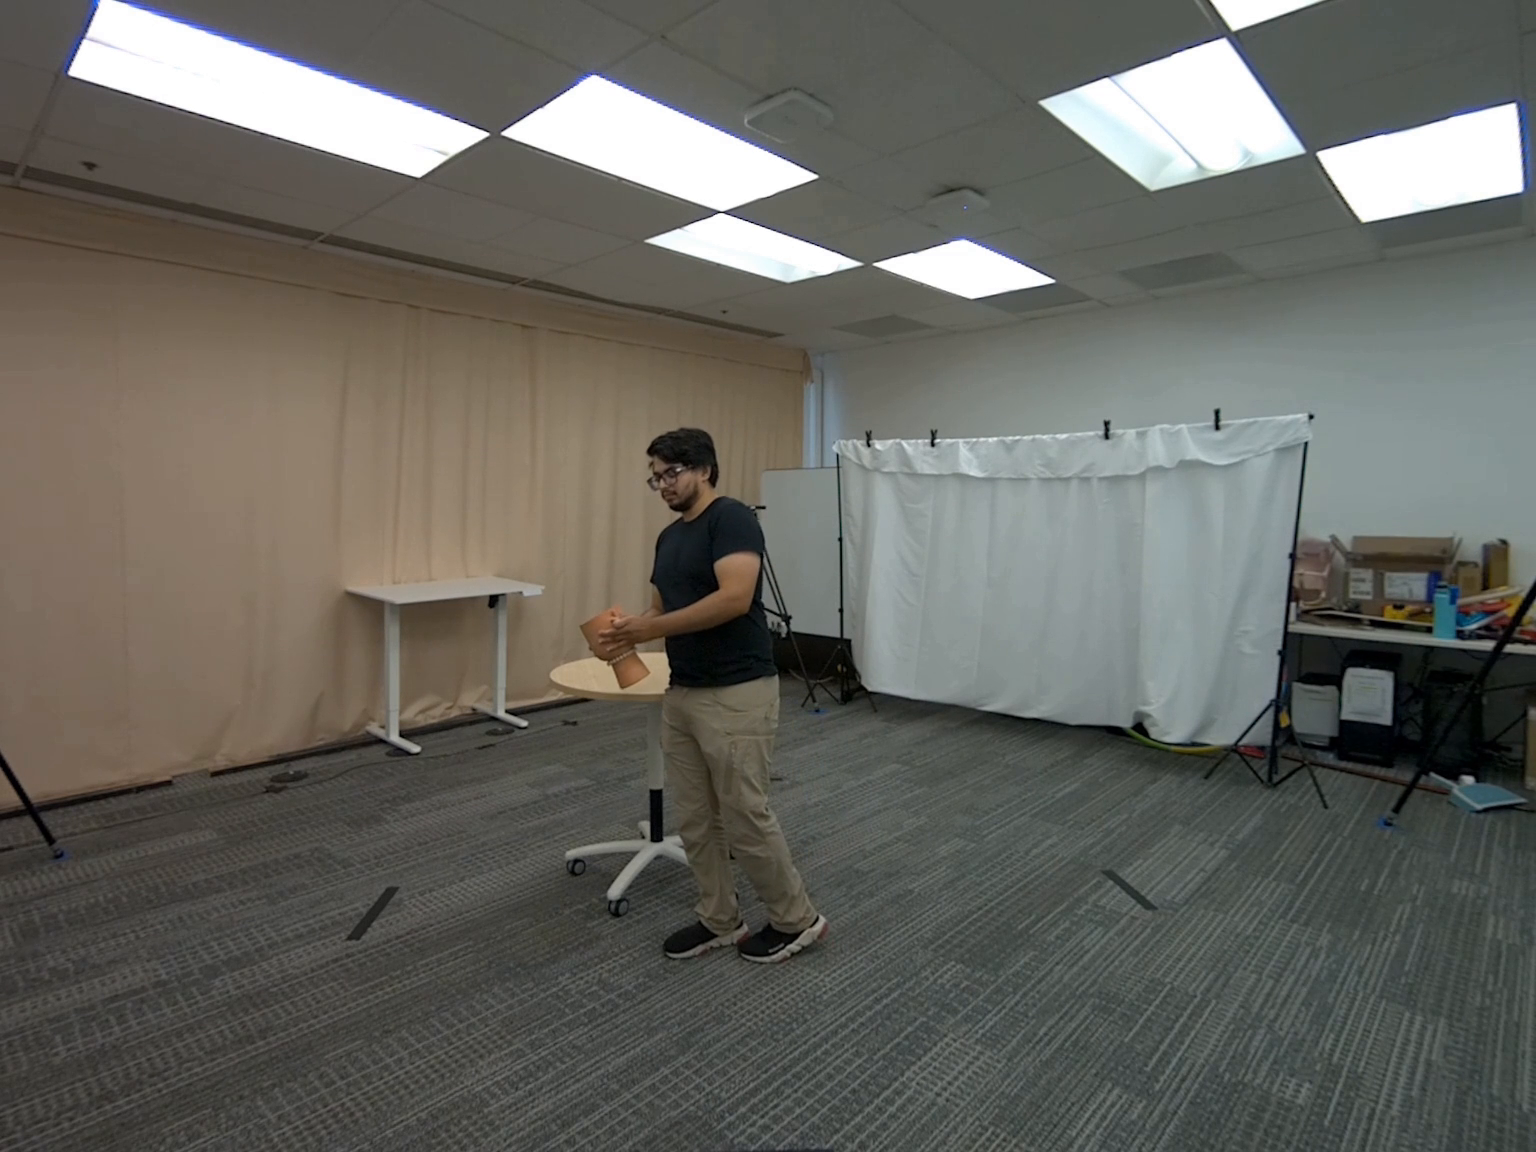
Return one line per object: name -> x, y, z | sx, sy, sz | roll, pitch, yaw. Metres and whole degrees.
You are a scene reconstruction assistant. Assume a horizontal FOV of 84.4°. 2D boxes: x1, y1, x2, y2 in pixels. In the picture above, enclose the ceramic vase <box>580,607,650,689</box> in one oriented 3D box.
ceramic vase -> -0.430, 0.208, 2.435 | 0.135, 0.220, 0.158 | -29, 1, 4
